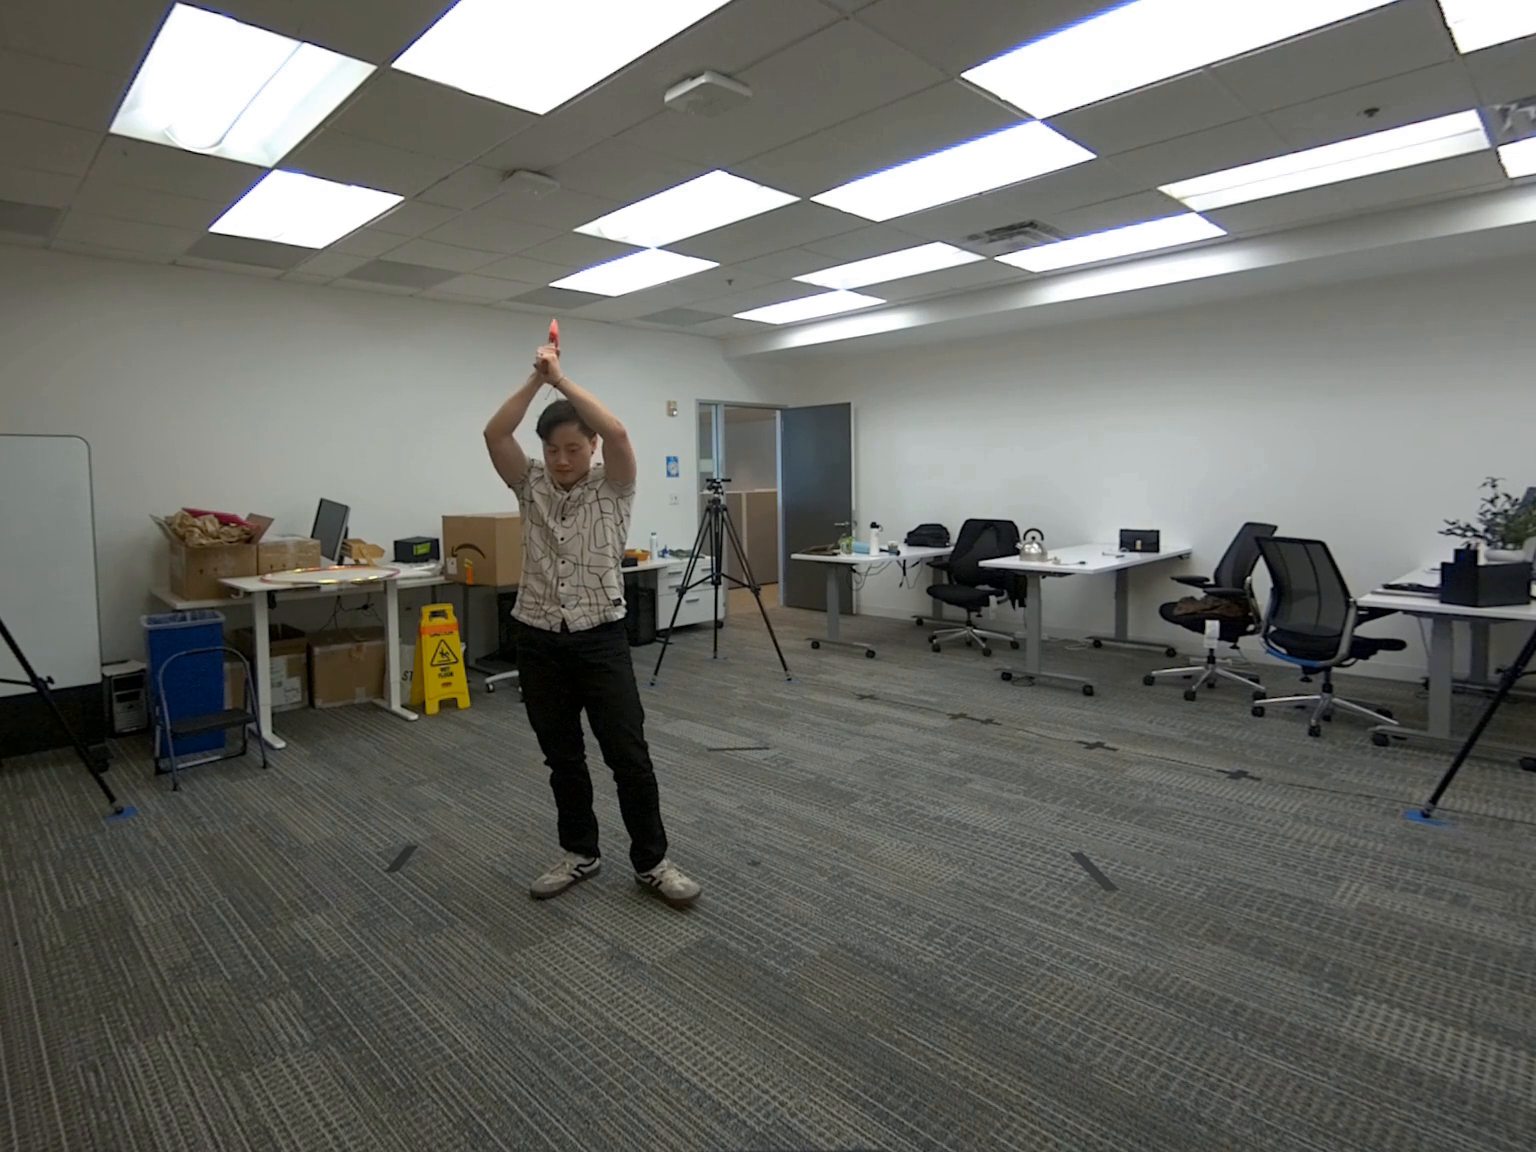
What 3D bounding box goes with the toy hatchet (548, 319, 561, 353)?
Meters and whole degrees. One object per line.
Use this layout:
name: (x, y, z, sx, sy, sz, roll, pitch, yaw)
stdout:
toy hatchet: (-0.670, -0.720, 2.636, 0.029, 0.129, 0.276, 5, 22, -10)
